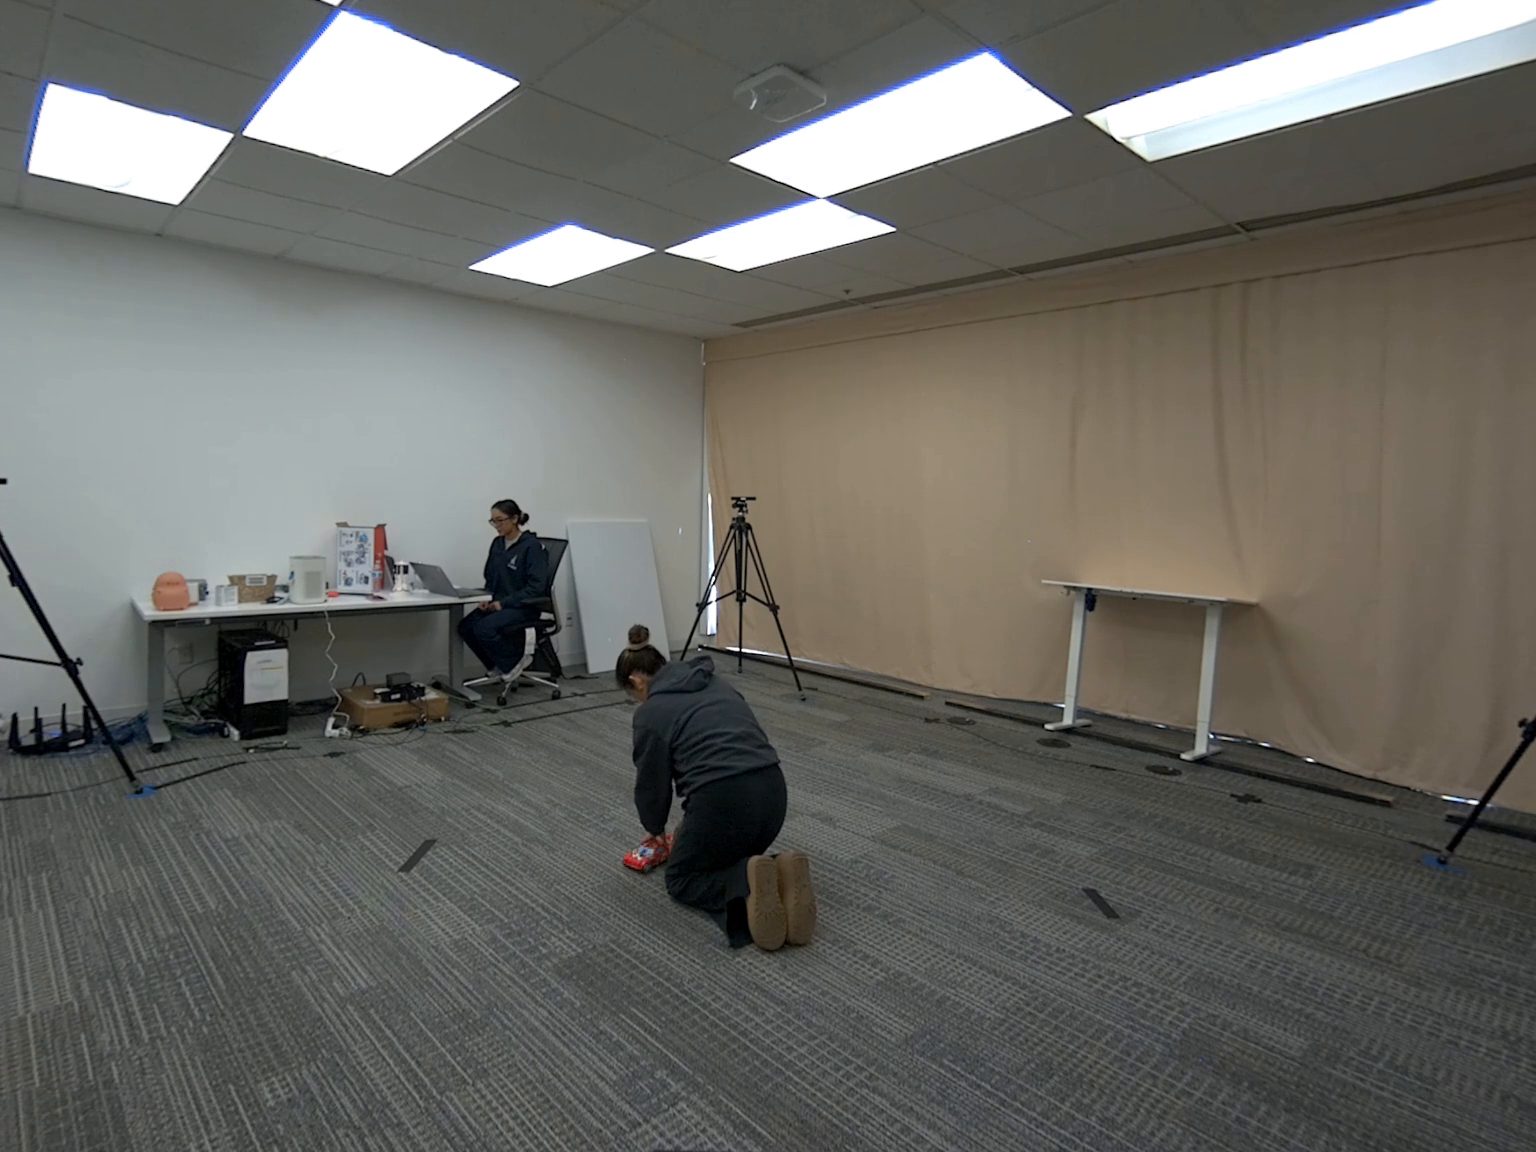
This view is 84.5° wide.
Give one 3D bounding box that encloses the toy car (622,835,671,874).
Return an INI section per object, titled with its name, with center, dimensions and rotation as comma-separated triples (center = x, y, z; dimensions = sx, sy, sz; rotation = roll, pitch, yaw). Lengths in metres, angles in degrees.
[toy car]
center = -0.438, 1.057, 3.215
dimensions = 0.133, 0.082, 0.251
rotation = 4, 15, 35
